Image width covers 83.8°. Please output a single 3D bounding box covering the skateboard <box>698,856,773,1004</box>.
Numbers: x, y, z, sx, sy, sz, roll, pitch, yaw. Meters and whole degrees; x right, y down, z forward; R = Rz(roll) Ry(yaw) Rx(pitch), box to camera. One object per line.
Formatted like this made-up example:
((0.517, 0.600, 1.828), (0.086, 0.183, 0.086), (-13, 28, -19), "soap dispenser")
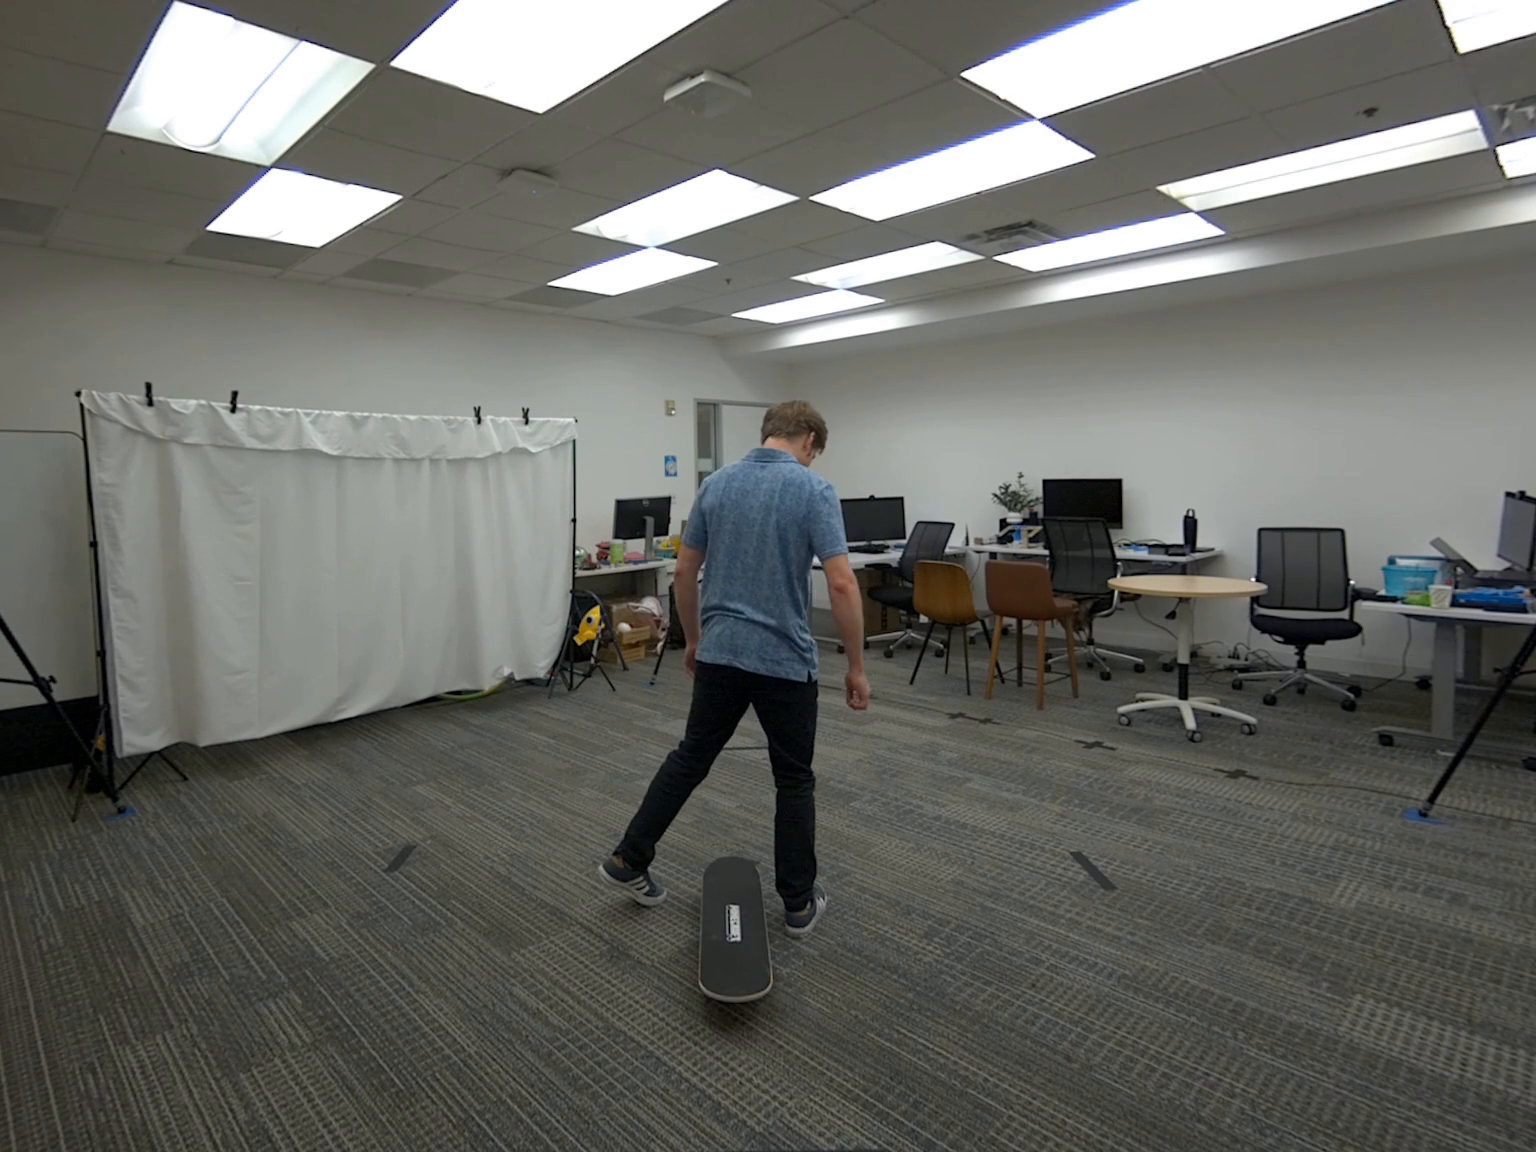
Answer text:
((-0.098, 1.058, 2.519), (0.193, 0.110, 0.790), (-1, 7, -2), "skateboard")
